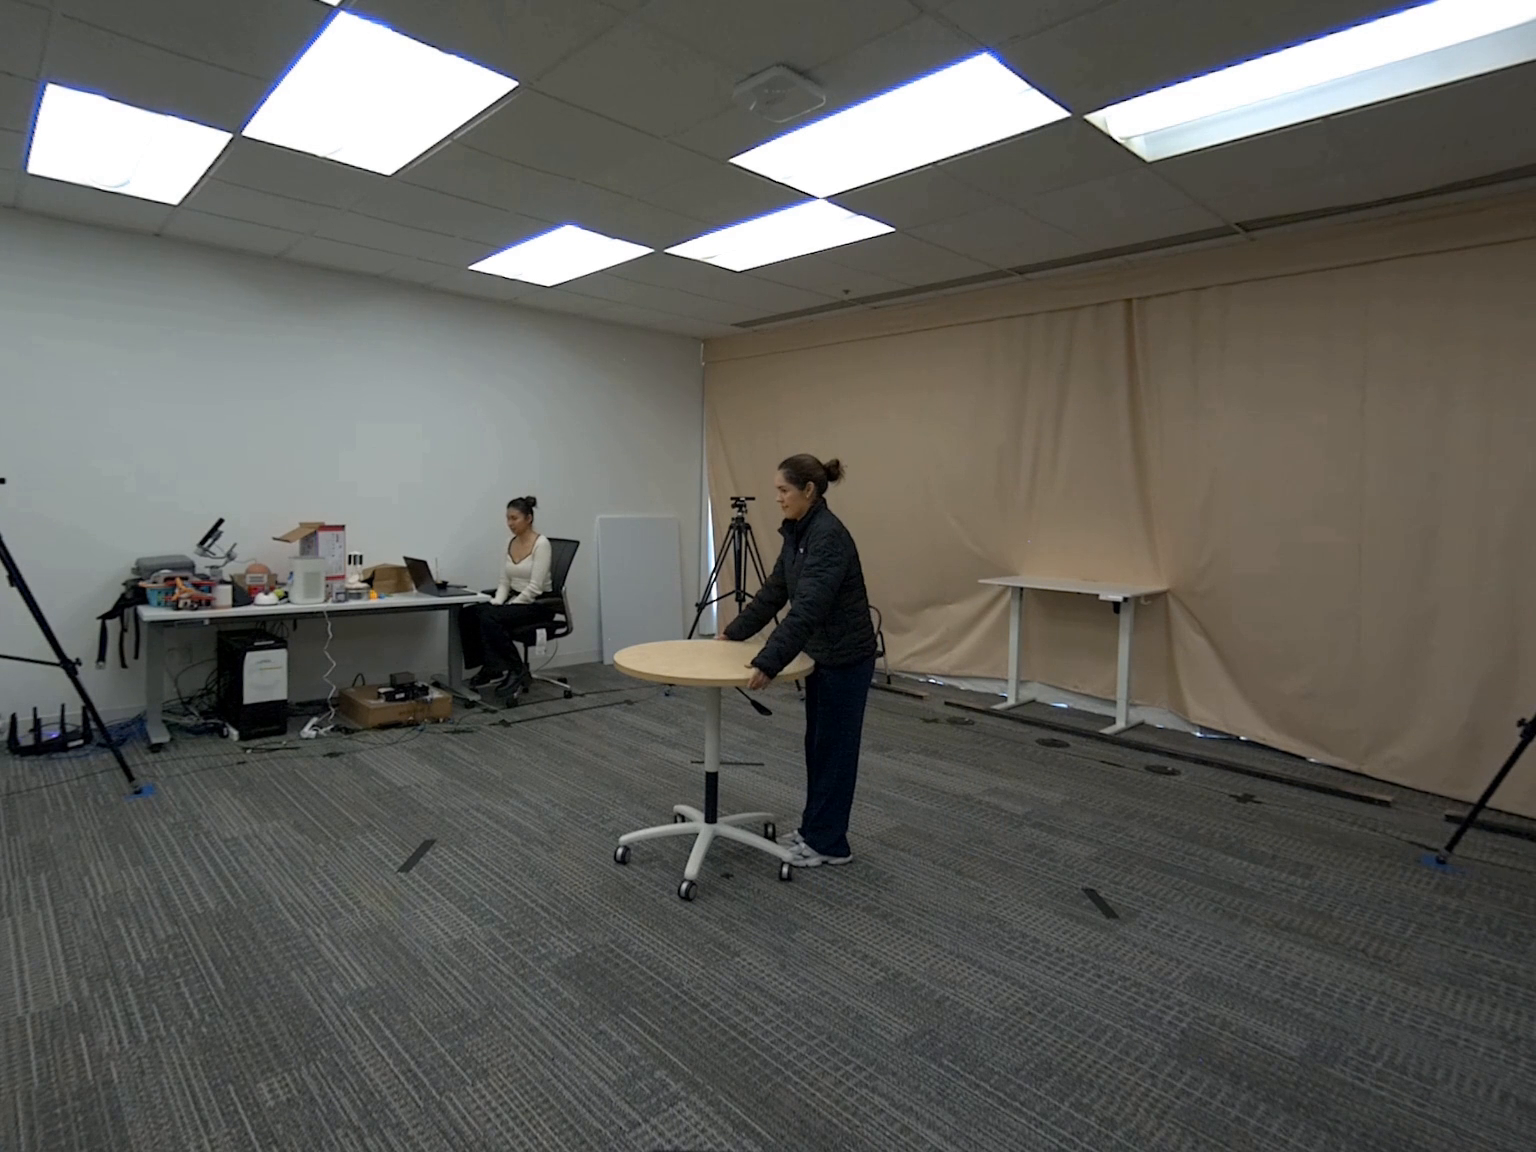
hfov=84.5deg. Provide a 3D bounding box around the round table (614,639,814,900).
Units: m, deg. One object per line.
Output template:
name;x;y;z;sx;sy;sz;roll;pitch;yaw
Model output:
round table;-0.209;0.699;3.234;0.784;0.784;0.788;1;4;-1
